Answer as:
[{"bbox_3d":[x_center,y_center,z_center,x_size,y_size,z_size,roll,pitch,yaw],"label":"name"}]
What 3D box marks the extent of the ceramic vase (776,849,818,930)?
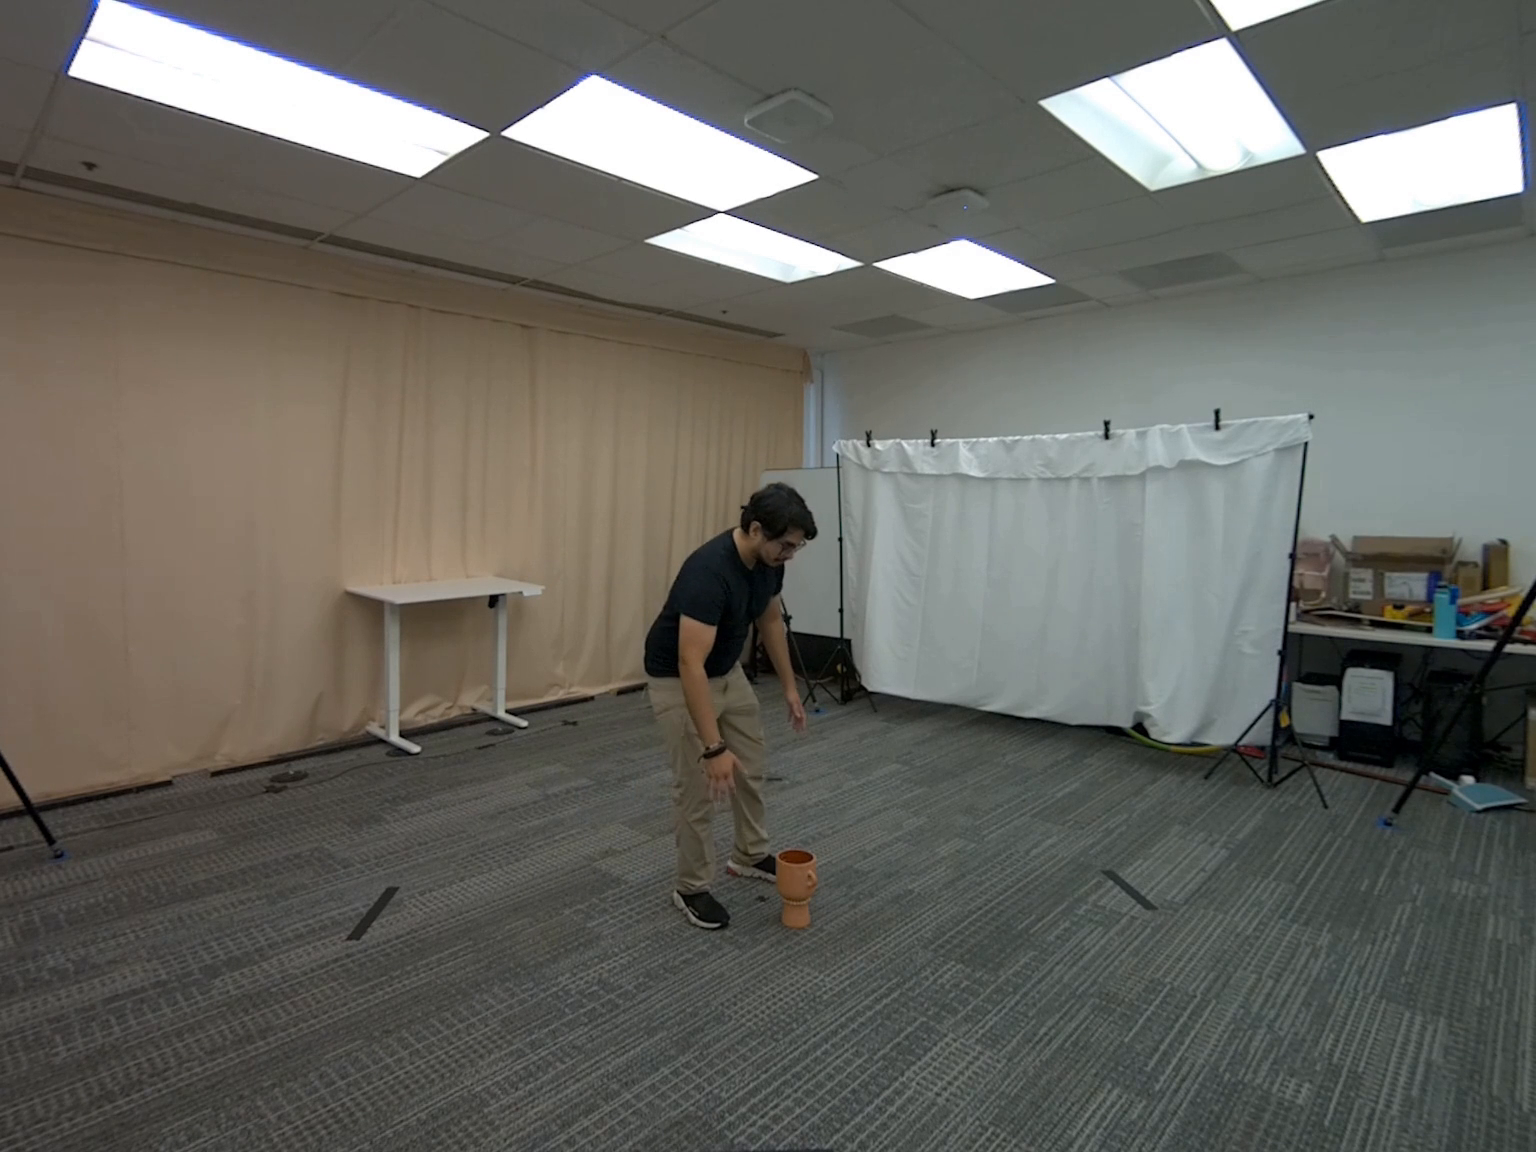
[{"bbox_3d":[0.103,1.048,2.807,0.135,0.219,0.158,2,3,3],"label":"ceramic vase"}]
